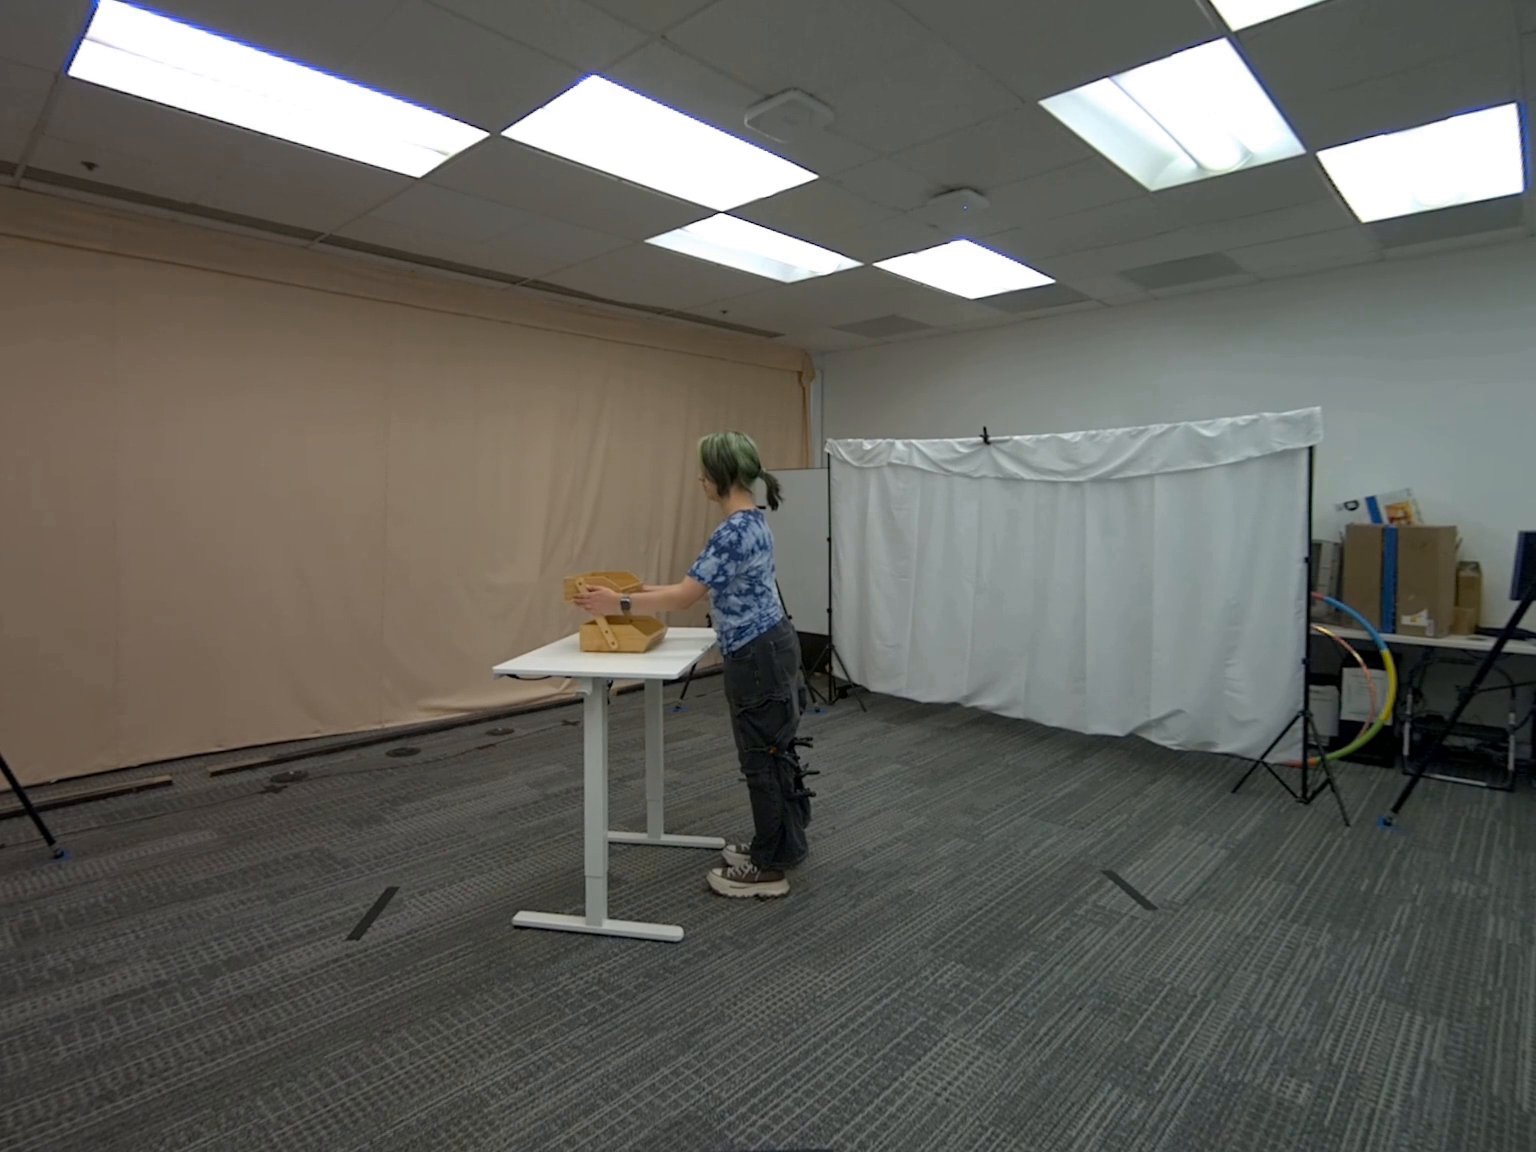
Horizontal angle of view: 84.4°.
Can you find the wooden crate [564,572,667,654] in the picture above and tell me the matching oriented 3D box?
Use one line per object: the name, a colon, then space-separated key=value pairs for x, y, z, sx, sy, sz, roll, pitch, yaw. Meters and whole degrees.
wooden crate: x=-0.543 y=0.120 z=3.084 sx=0.305 sy=0.273 sz=0.322 roll=-1 pitch=2 yaw=8
